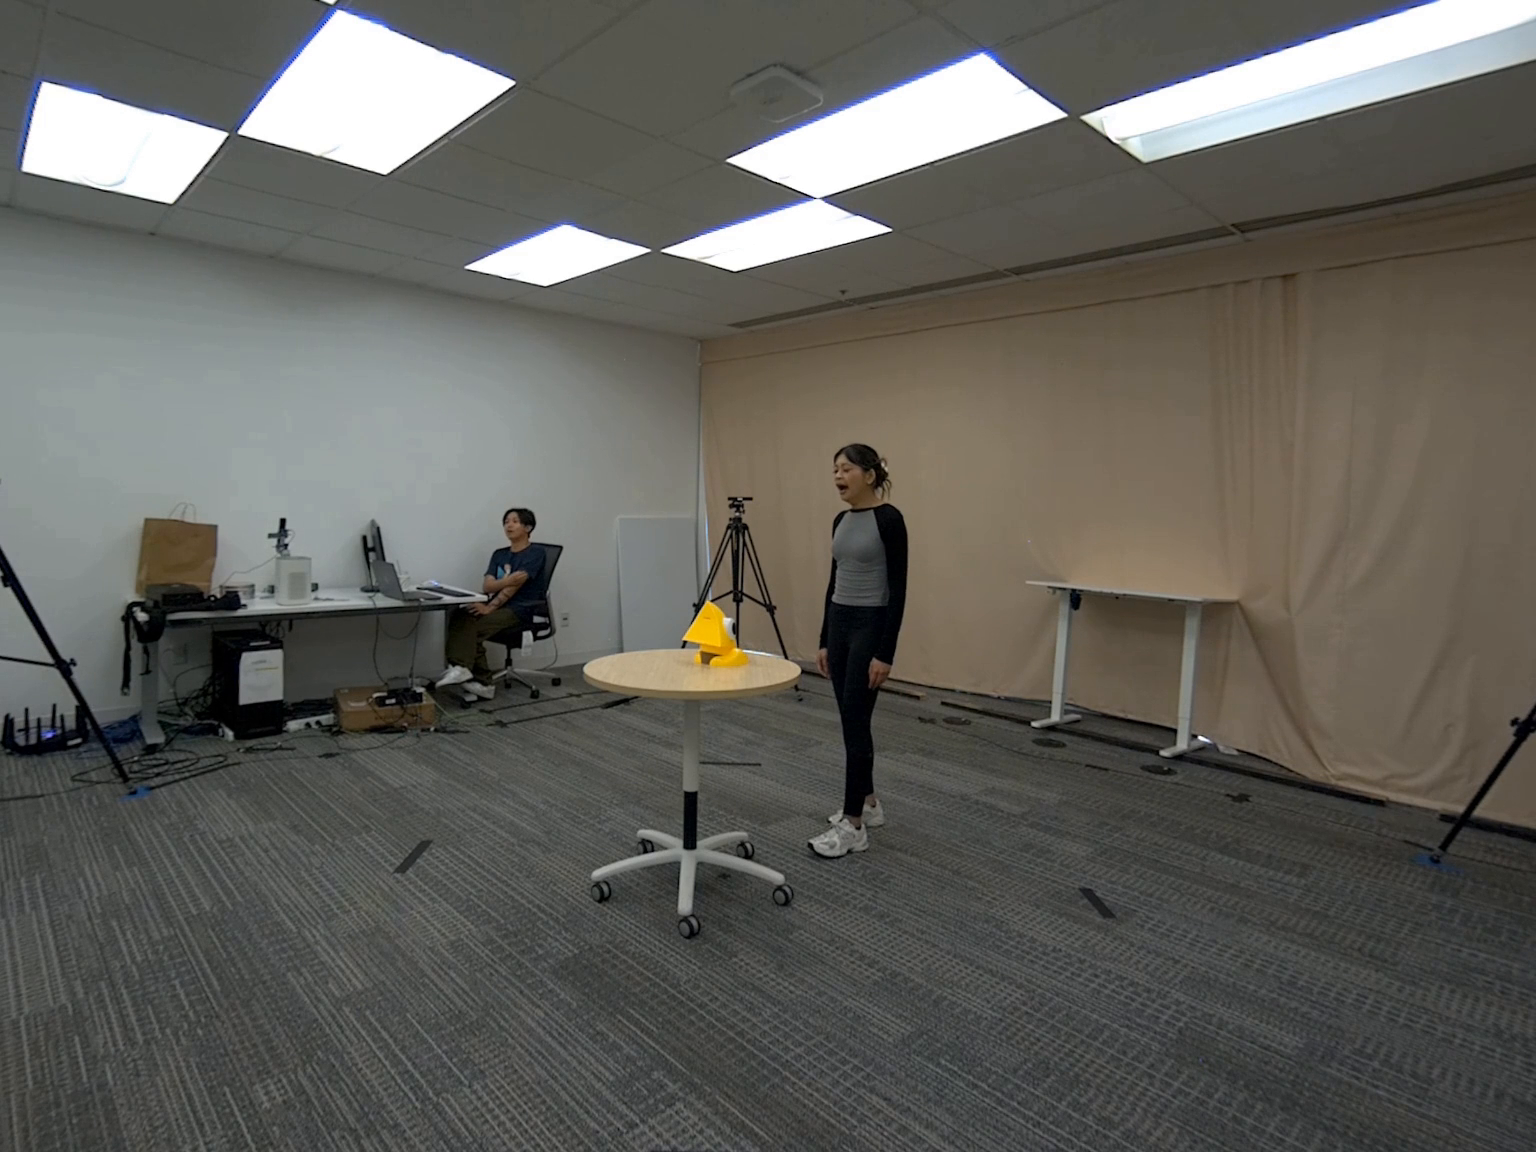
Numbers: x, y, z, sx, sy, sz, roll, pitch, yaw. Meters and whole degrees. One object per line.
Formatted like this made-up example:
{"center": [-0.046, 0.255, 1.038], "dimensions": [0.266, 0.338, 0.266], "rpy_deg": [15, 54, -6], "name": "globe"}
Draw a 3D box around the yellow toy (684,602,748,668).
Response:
{"center": [-0.184, 0.202, 3.084], "dimensions": [0.210, 0.230, 0.189], "rpy_deg": [4, 5, 44], "name": "yellow toy"}
